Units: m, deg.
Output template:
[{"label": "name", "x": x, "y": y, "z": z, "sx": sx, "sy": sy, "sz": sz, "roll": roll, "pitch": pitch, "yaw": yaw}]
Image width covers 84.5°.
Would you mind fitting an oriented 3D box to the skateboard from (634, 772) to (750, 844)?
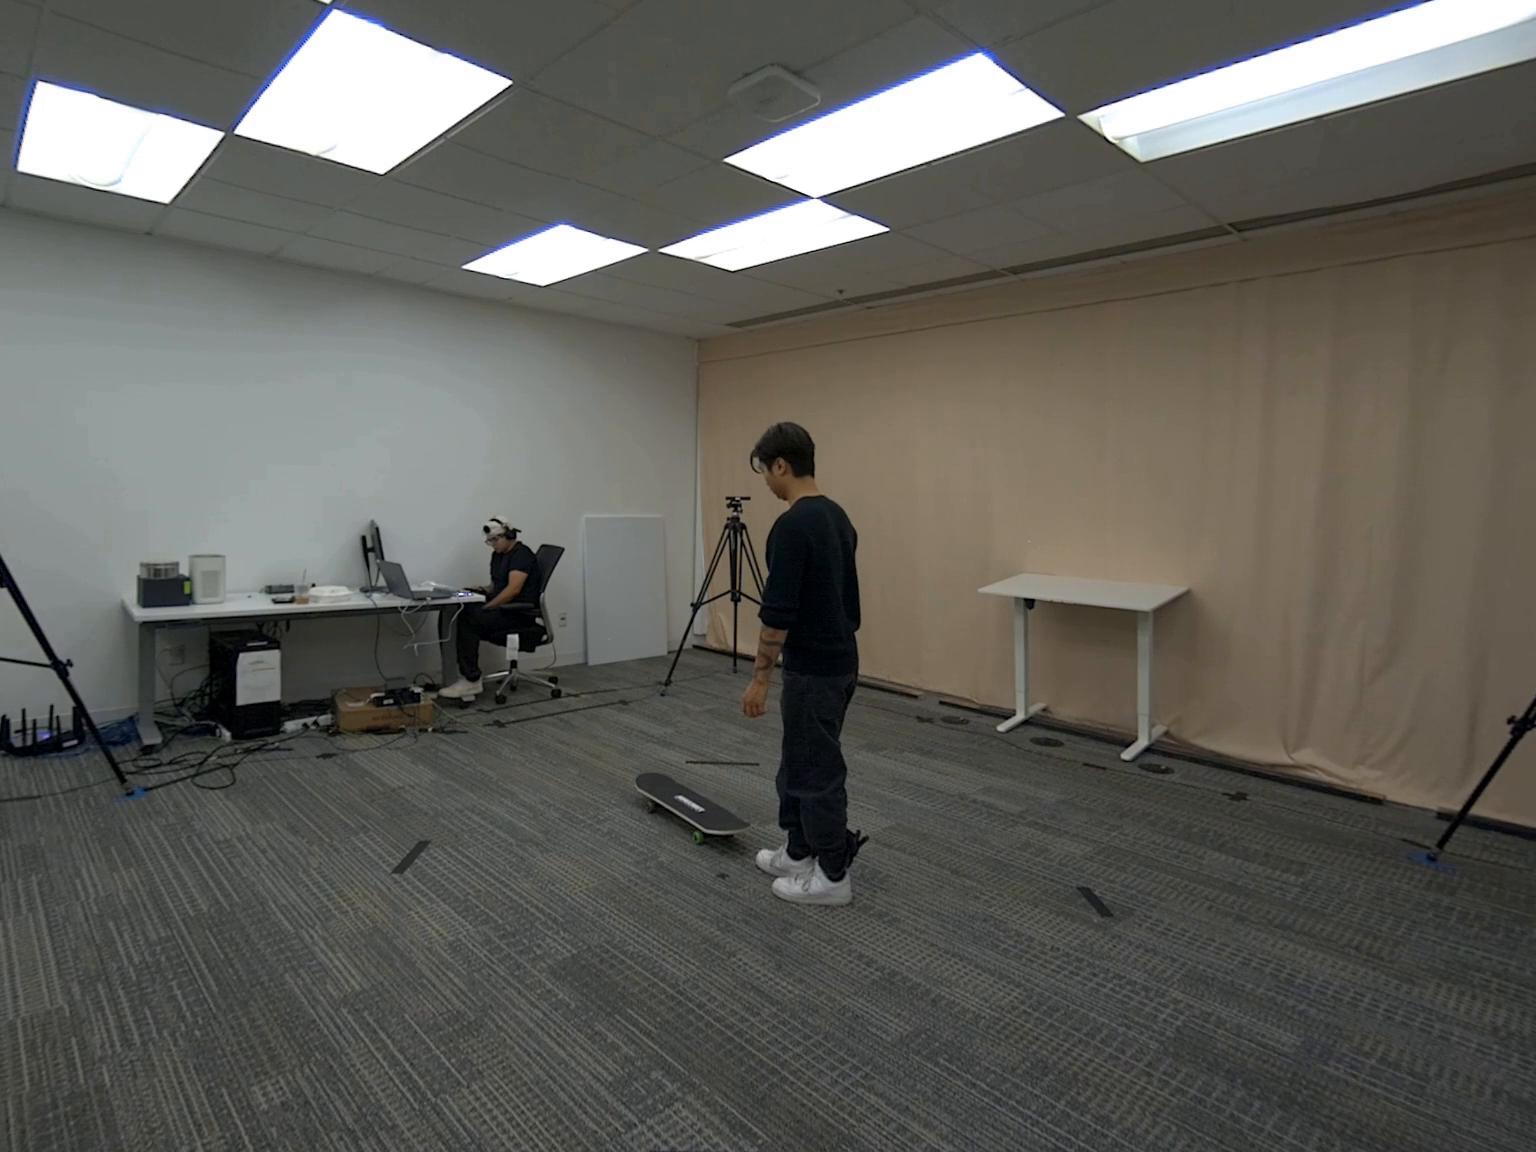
[{"label": "skateboard", "x": -0.352, "y": 1.007, "z": 3.598, "sx": 0.189, "sy": 0.110, "sz": 0.805, "roll": -1, "pitch": 6, "yaw": -35}]
